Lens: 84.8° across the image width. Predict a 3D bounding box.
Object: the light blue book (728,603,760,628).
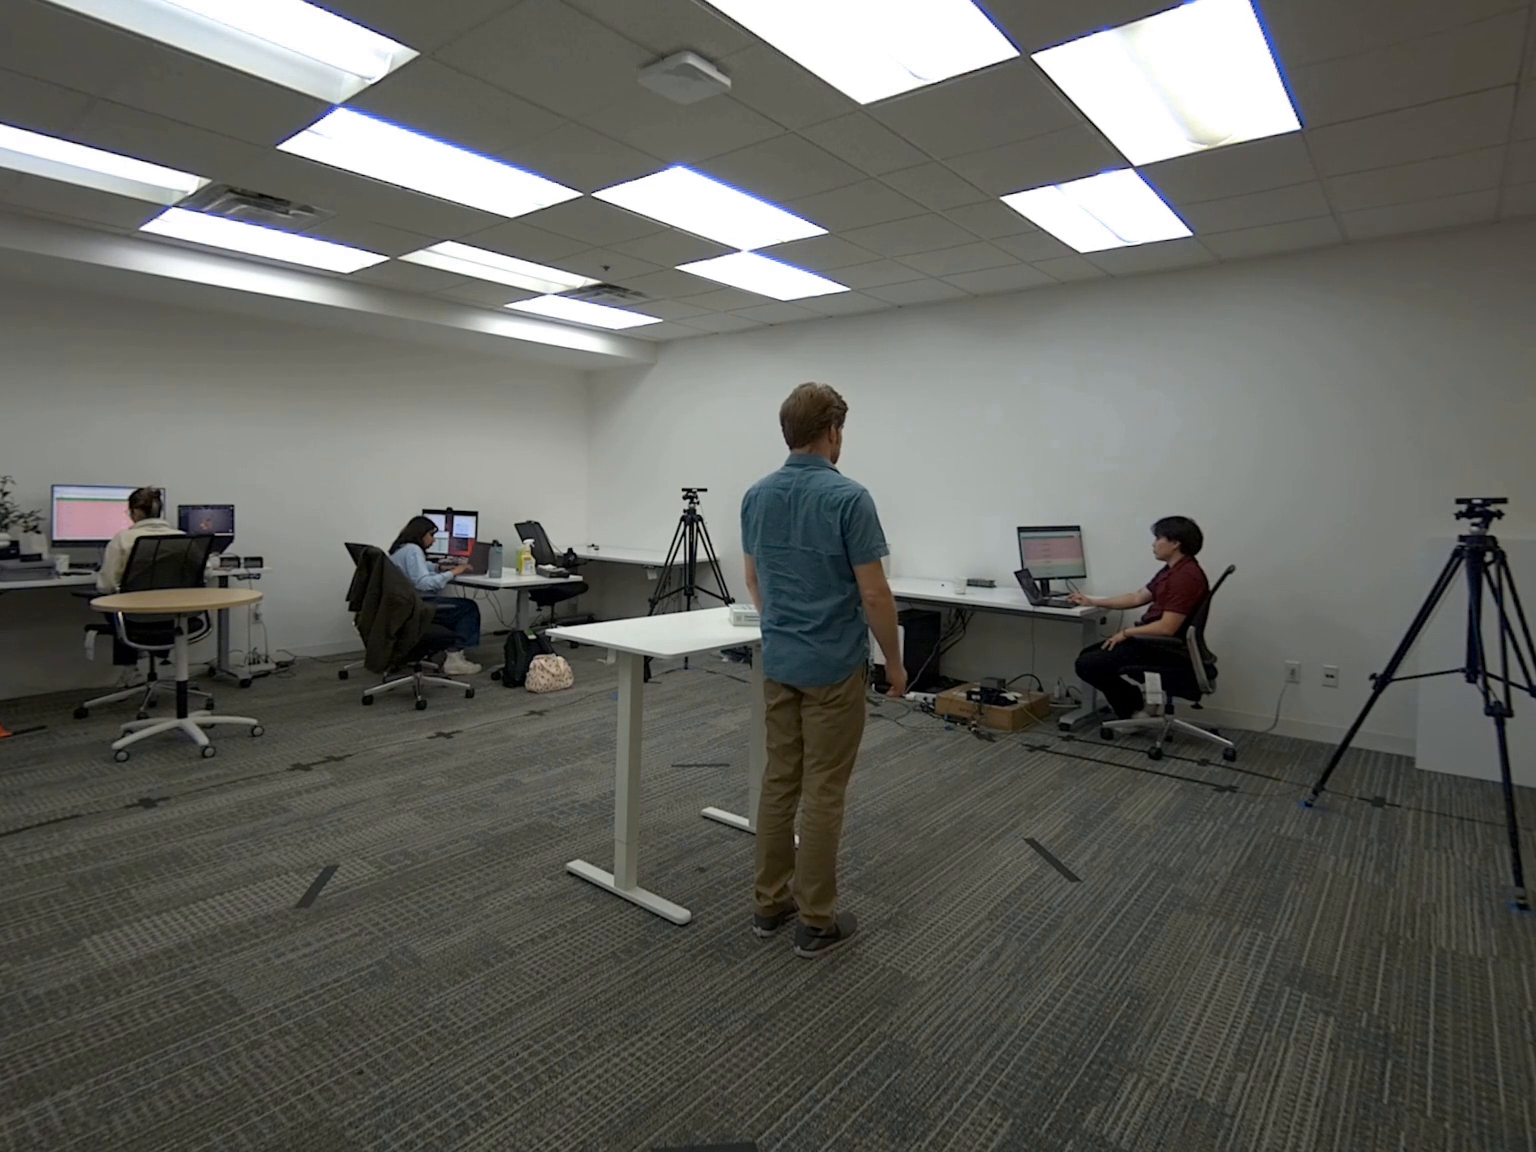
[{"bbox_3d":[-0.027,0.148,3.272,0.259,0.059,0.193,1,5,-7],"label":"light blue book"}]
